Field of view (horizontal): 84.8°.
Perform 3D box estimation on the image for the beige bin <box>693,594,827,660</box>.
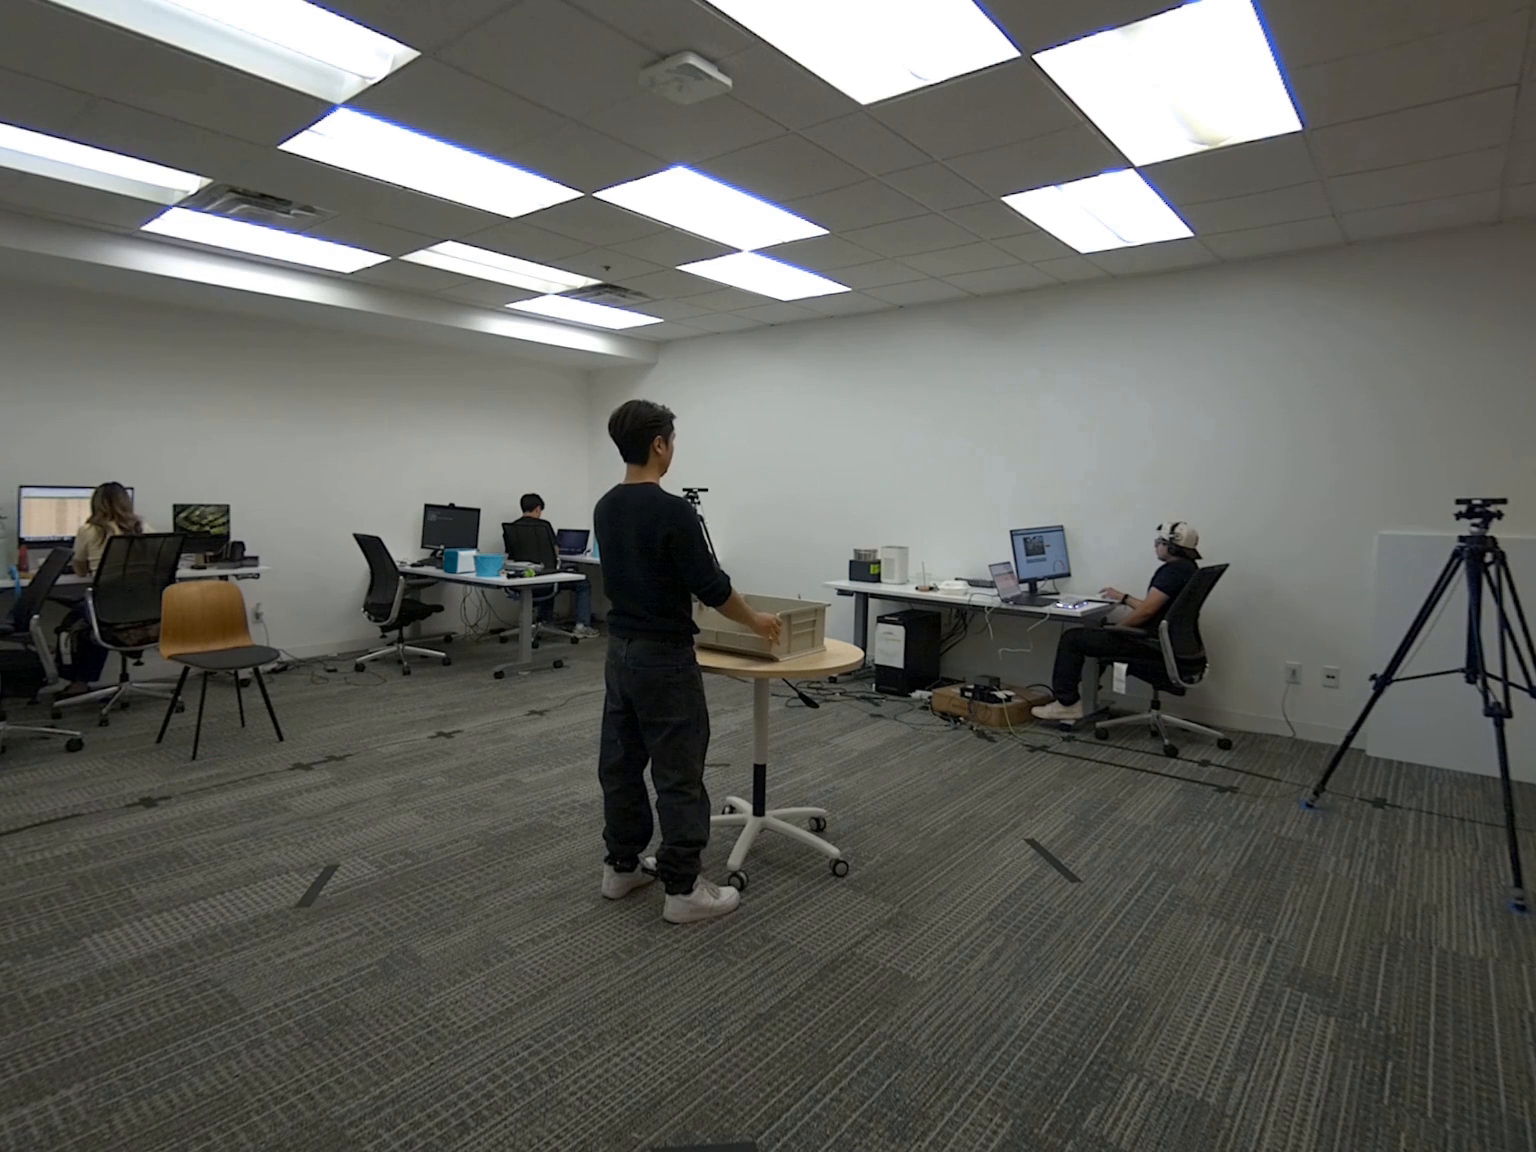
[{"bbox_3d":[-0.050,0.186,3.225,0.436,0.188,0.366,5,5,37],"label":"beige bin"}]
